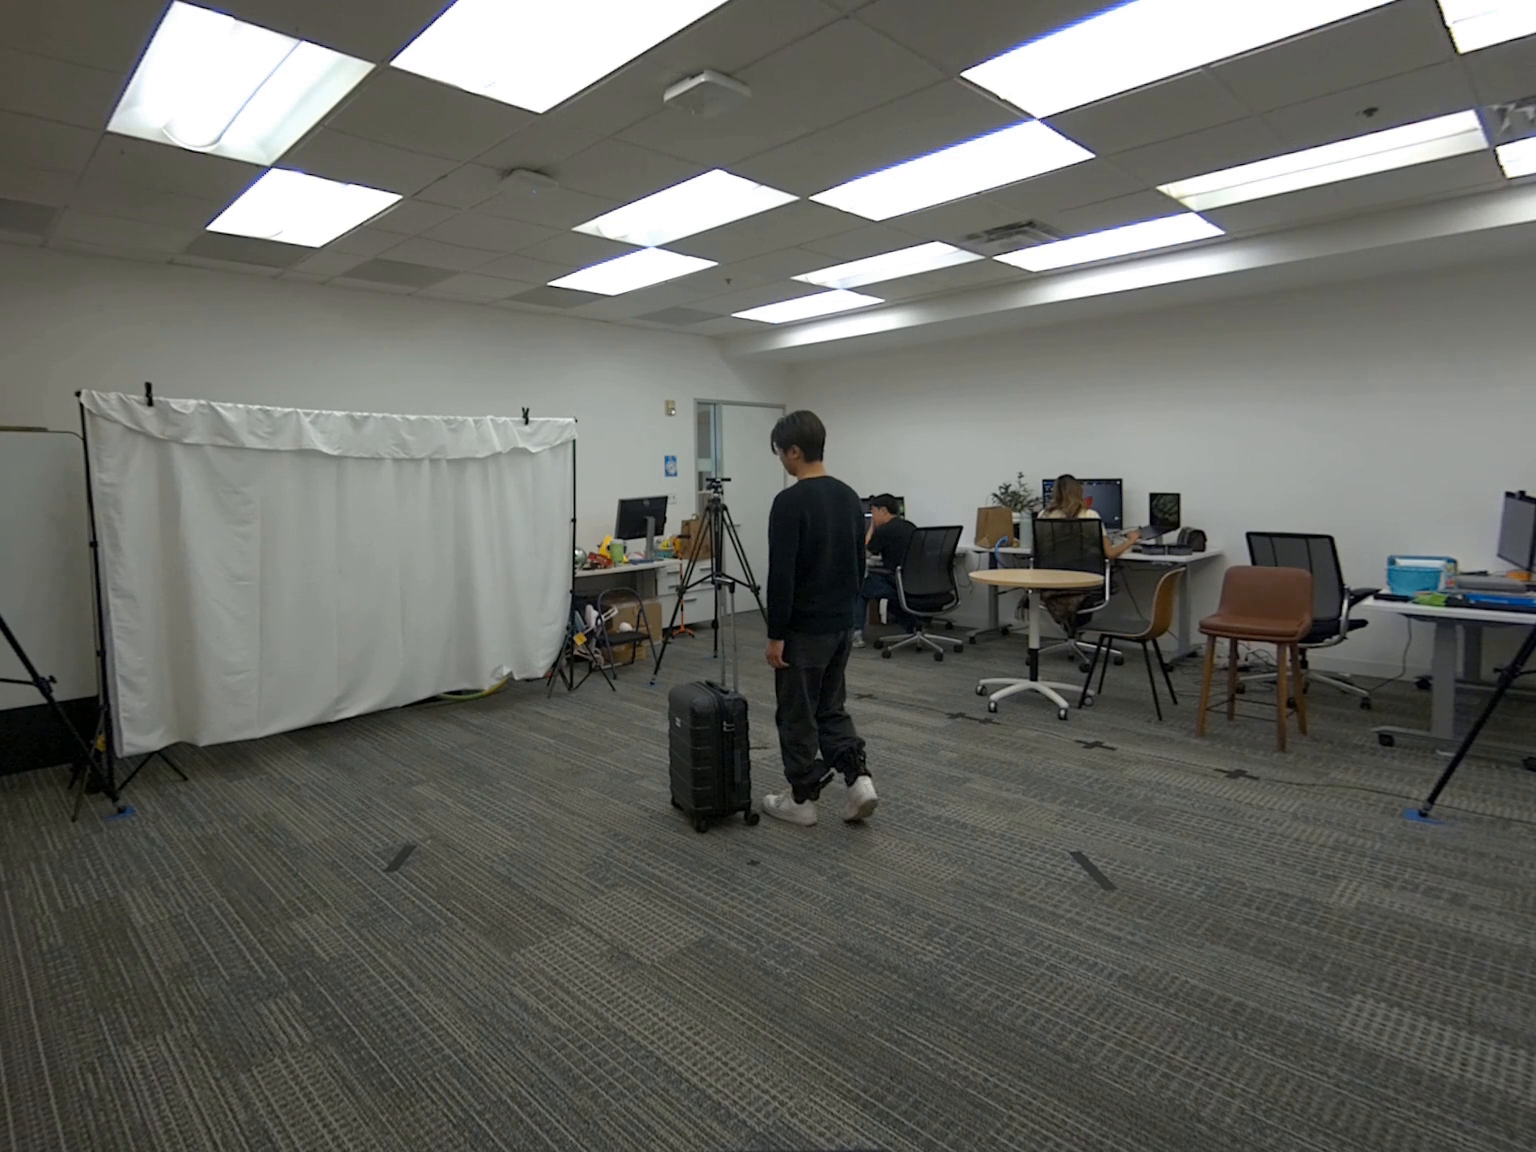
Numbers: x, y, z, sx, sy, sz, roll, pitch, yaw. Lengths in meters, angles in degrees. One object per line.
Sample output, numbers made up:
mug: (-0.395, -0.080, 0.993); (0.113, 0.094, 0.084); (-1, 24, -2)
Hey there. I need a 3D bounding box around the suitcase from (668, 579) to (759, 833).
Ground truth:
suitcase: (-0.258, 0.524, 3.517); (0.253, 0.975, 0.392); (-5, 4, -21)
